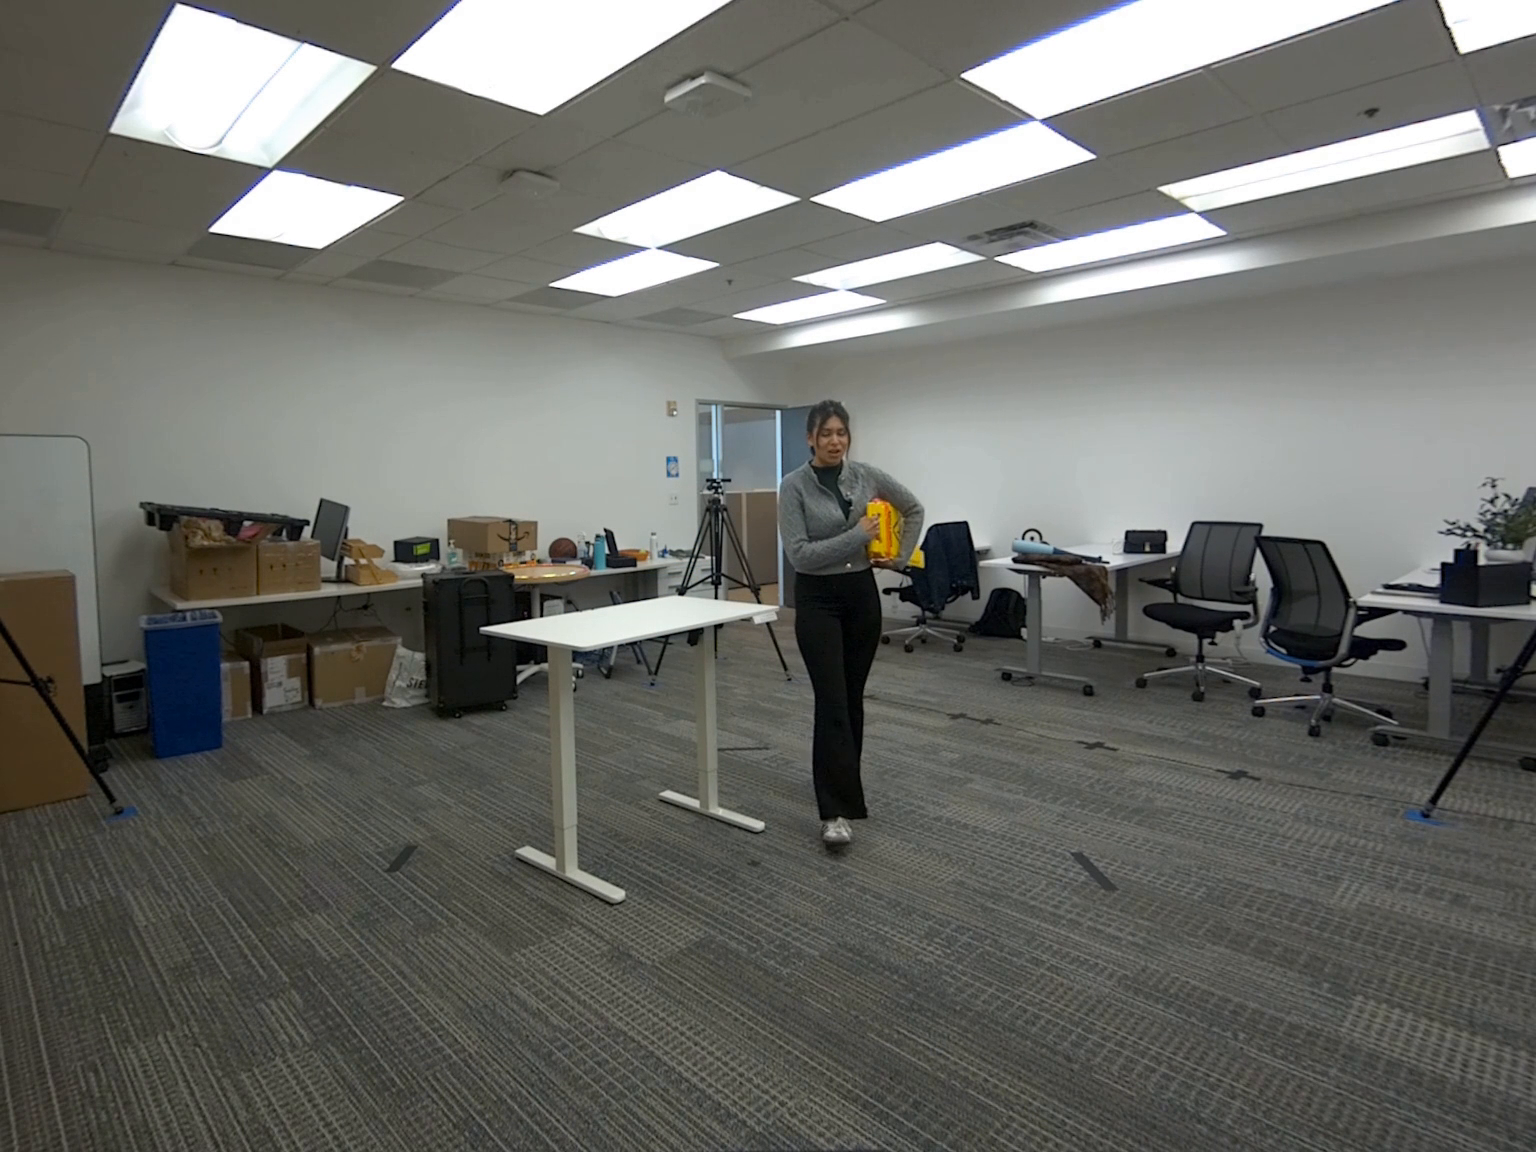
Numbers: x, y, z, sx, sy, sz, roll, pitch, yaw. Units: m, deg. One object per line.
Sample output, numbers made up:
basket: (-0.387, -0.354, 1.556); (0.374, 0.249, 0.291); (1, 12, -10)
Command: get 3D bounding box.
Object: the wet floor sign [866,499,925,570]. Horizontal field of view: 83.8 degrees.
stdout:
wet floor sign: (0.490, -0.174, 3.652); (0.294, 0.284, 0.634); (-2, -4, 14)
